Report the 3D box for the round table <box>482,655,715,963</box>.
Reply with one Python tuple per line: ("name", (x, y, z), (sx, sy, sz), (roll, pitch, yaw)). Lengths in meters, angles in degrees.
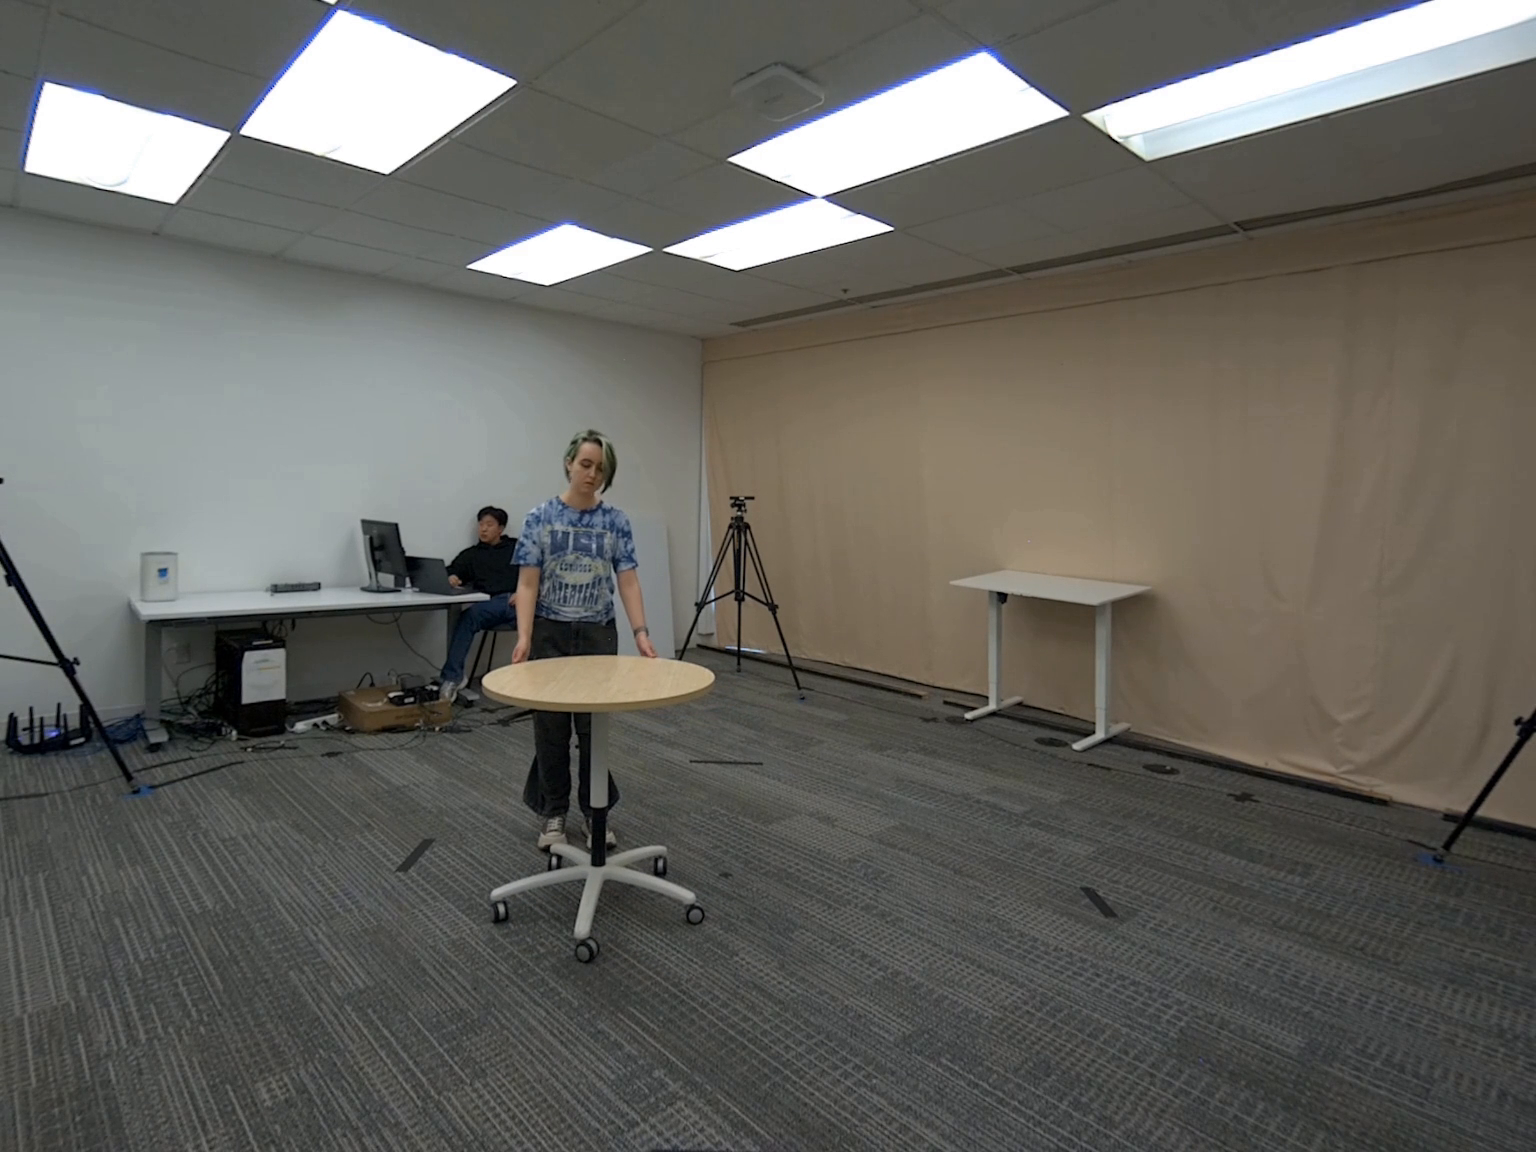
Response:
("round table", (-0.567, 0.730, 2.832), (0.763, 0.792, 0.766), (1, 4, -1))
